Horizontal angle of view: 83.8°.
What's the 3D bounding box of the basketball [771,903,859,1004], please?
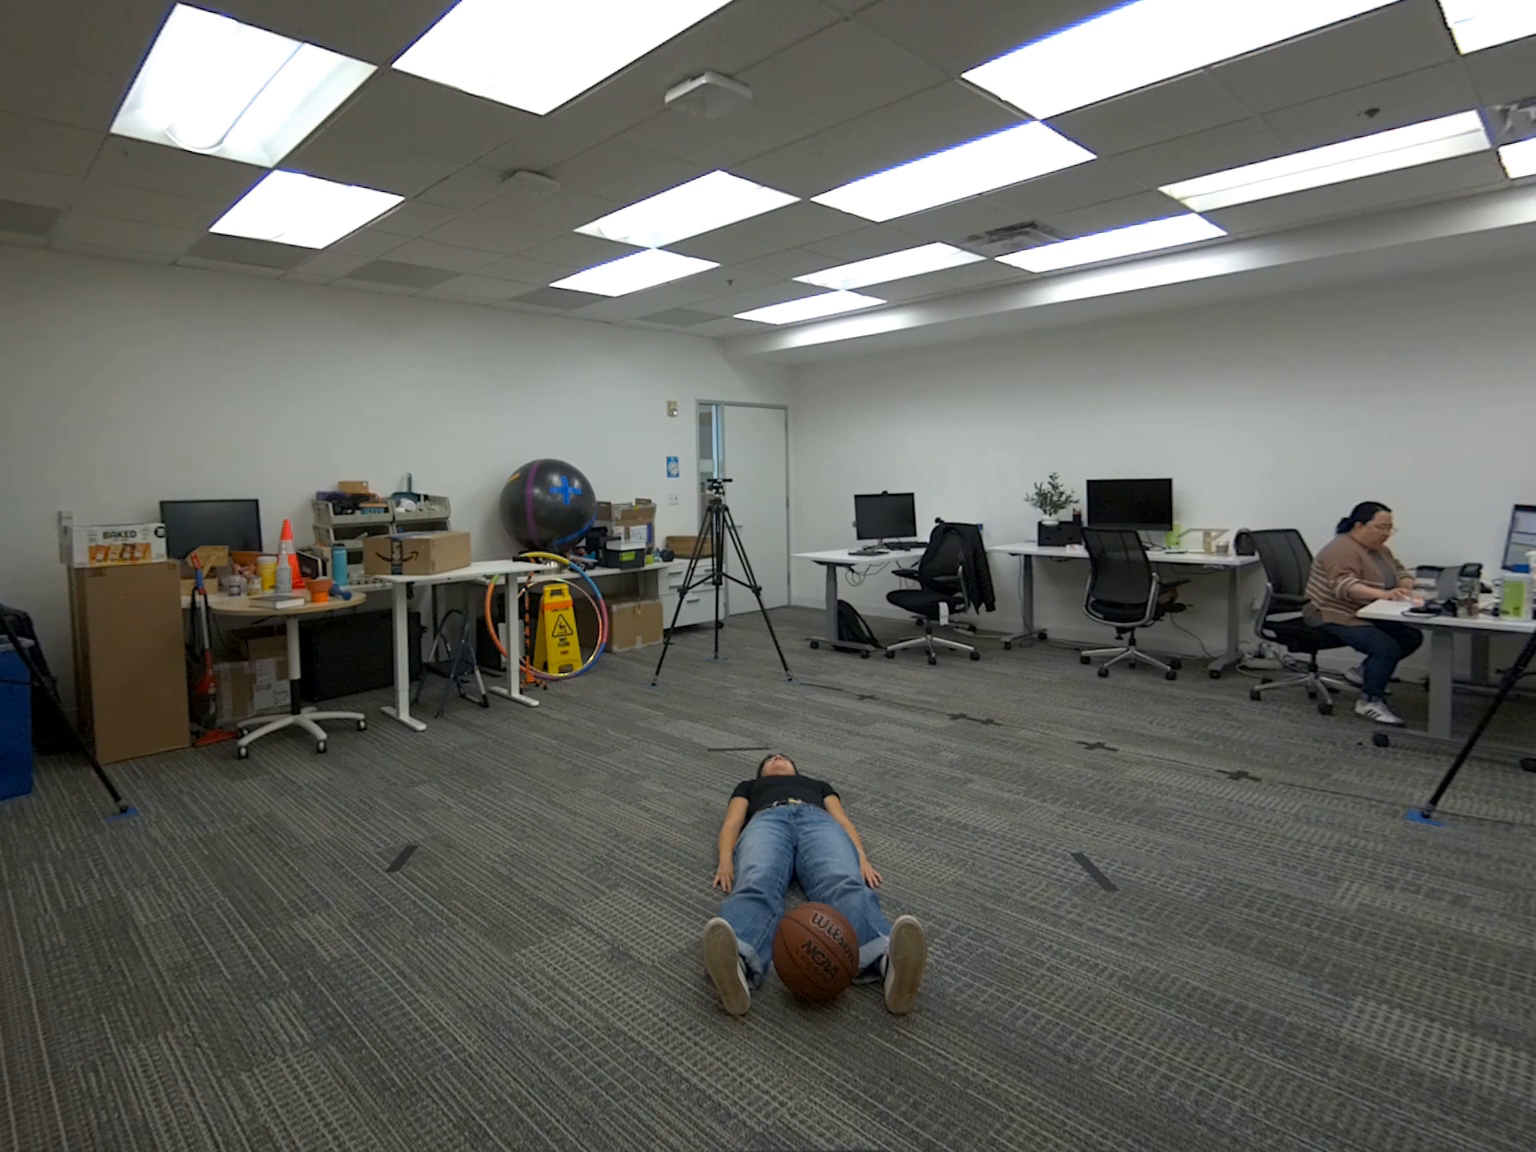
[{"bbox_3d":[0.133,1.012,2.314,0.236,0.235,0.237,-1,5,-2],"label":"basketball"}]
